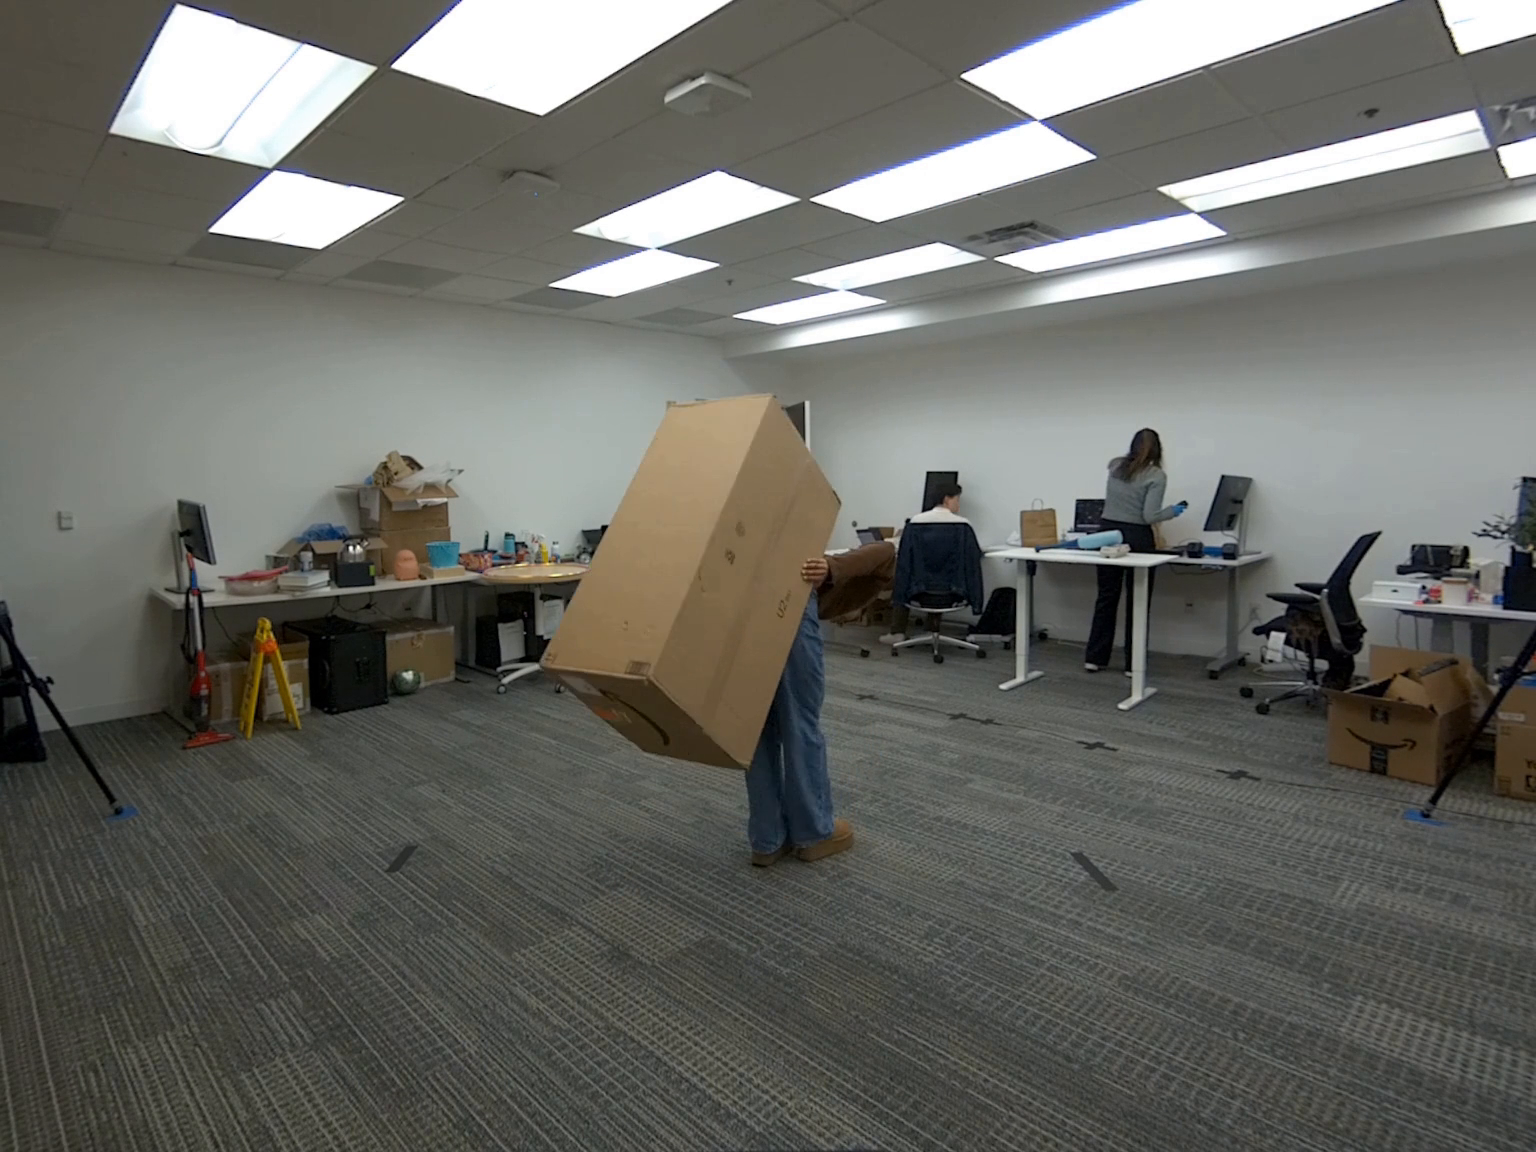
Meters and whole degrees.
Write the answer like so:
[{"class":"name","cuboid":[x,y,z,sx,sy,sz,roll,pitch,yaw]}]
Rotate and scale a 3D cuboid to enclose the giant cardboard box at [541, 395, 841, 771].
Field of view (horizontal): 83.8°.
[{"class":"giant cardboard box","cuboid":[-0.199,0.017,2.754,0.459,1.039,0.561,1,-34,34]}]
